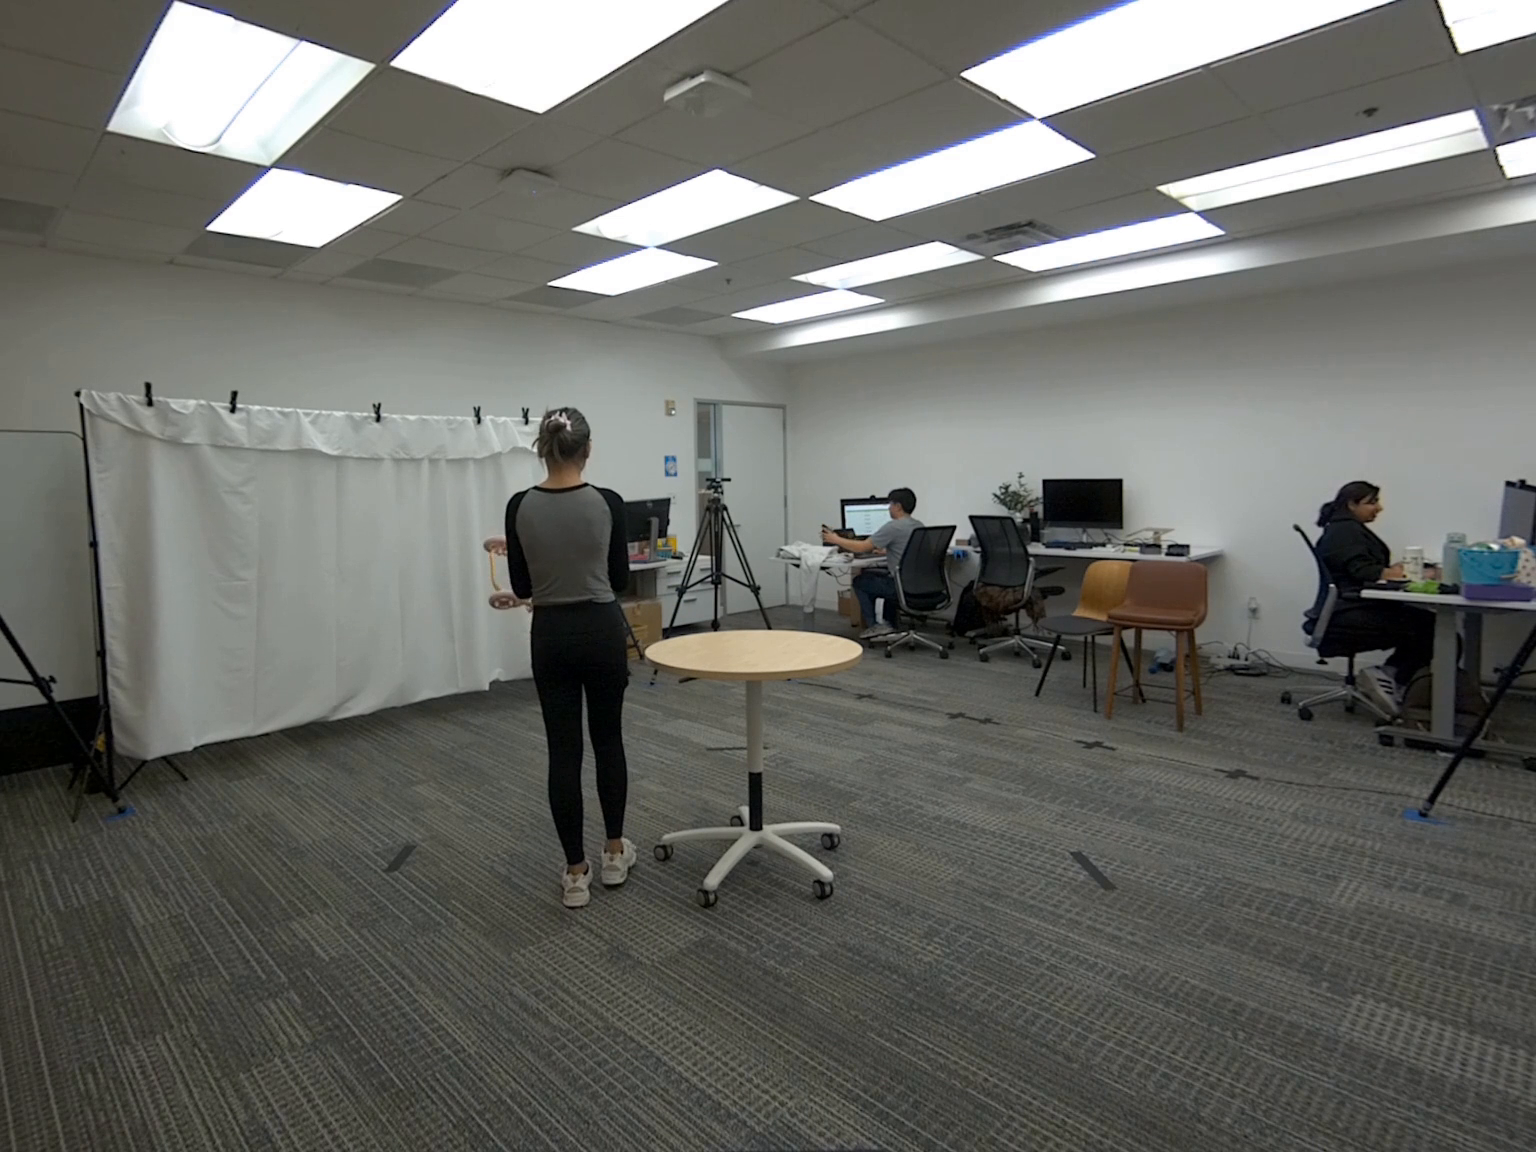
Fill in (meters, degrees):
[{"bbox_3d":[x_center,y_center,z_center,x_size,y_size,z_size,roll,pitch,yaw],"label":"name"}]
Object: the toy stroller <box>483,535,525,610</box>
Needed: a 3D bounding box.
[{"bbox_3d":[-0.844,-0.019,3.341,0.537,0.291,0.329,-23,-34,8],"label":"toy stroller"}]
